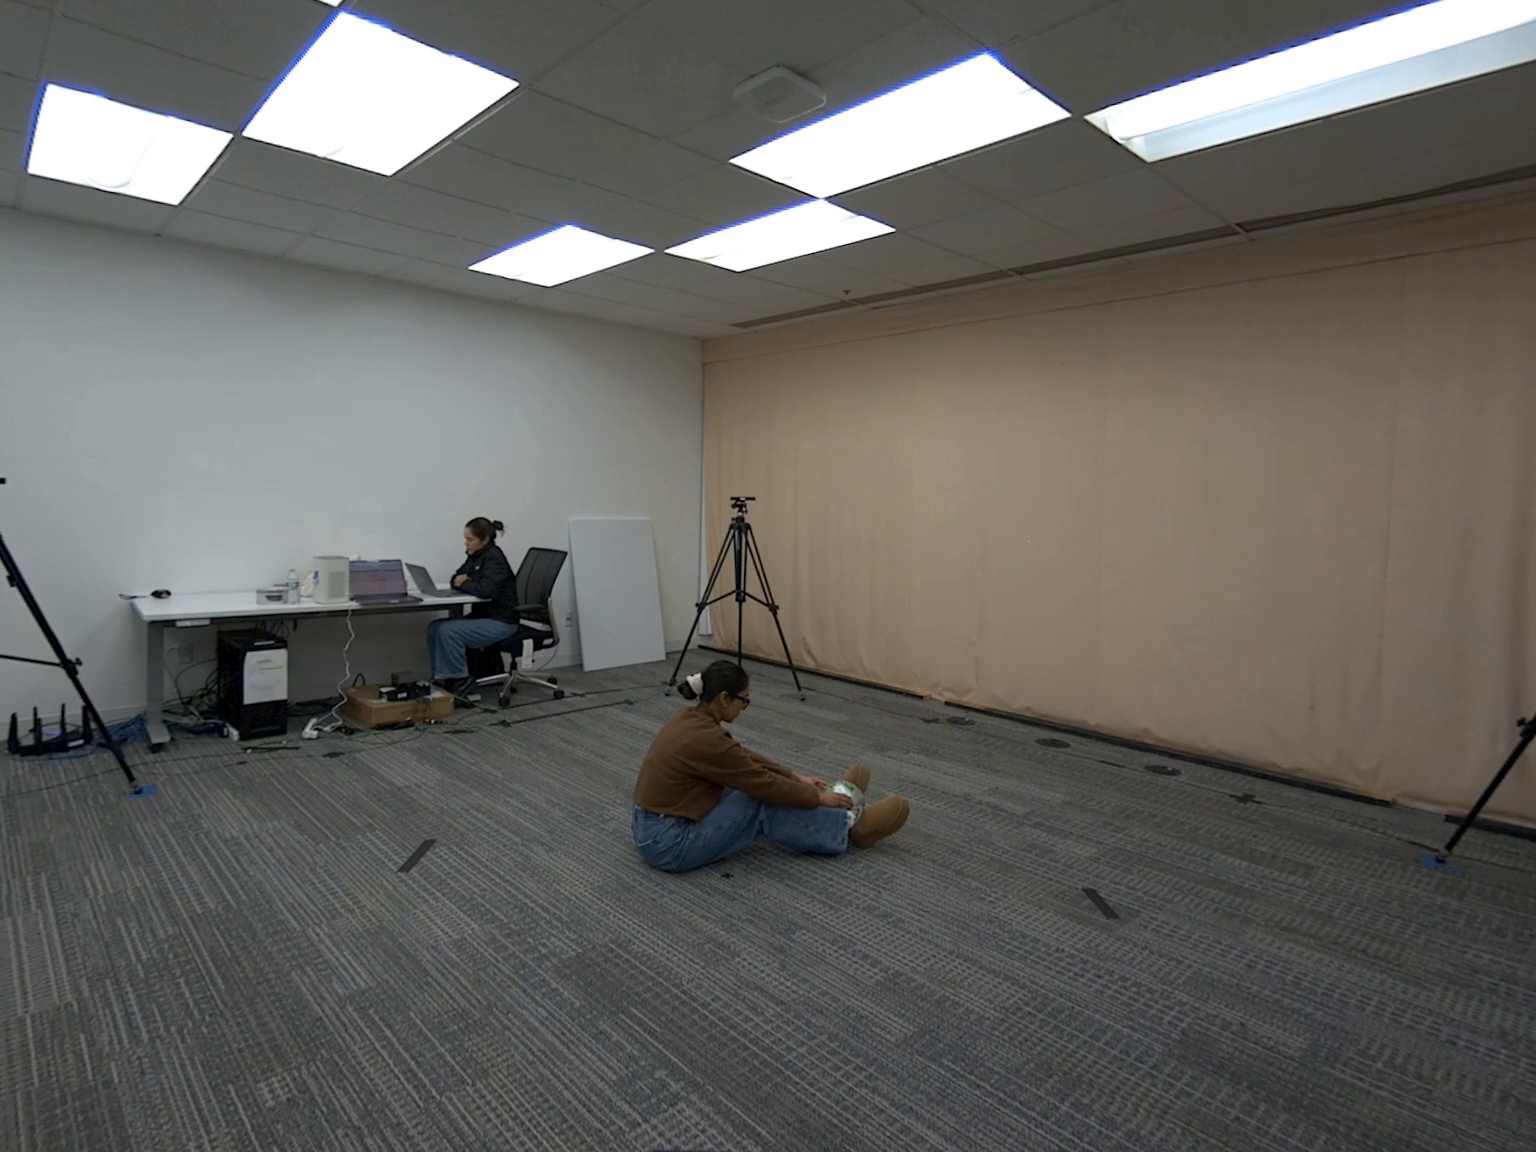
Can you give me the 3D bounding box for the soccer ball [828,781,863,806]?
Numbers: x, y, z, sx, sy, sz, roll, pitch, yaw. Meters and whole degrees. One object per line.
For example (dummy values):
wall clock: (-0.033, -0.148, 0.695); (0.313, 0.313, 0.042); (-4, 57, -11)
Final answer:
soccer ball: (0.298, 0.953, 3.483); (0.187, 0.187, 0.188); (1, 4, -1)
